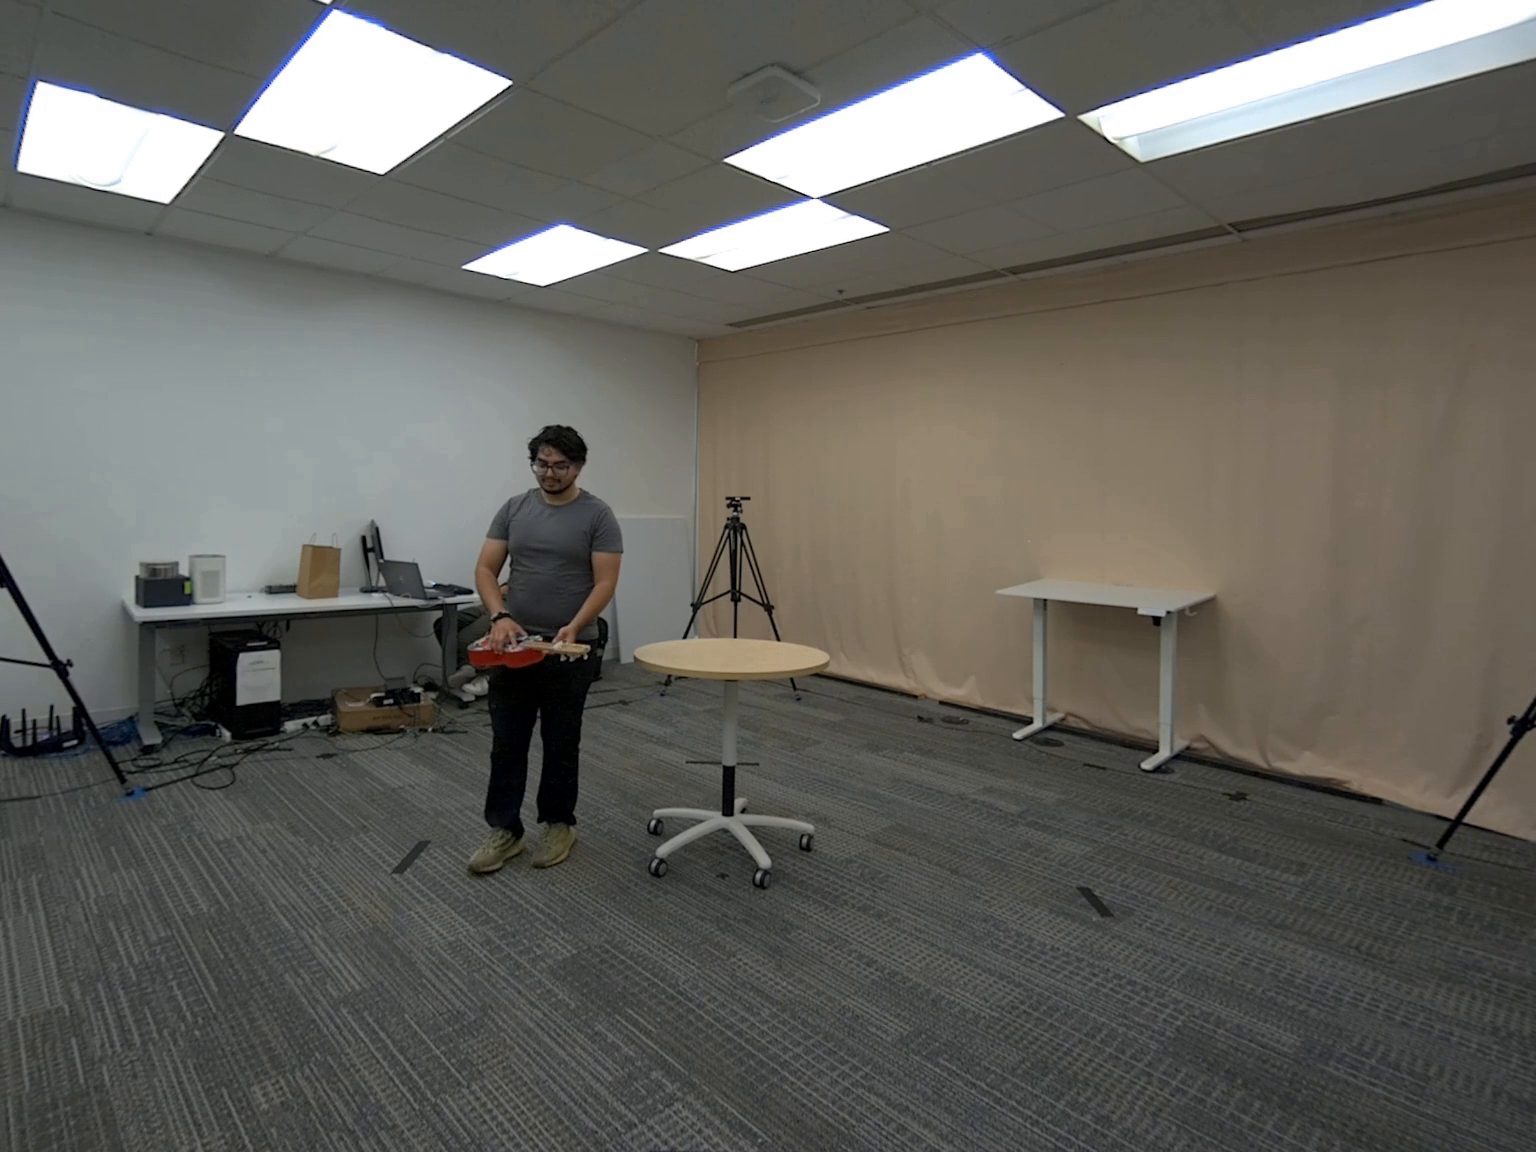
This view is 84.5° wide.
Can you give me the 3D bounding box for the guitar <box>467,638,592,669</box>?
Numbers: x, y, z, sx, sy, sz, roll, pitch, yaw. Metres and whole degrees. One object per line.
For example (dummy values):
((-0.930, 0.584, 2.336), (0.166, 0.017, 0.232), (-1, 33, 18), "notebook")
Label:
((-0.829, 0.265, 2.866), (0.510, 0.070, 0.190), (6, 21, 39), "guitar")
